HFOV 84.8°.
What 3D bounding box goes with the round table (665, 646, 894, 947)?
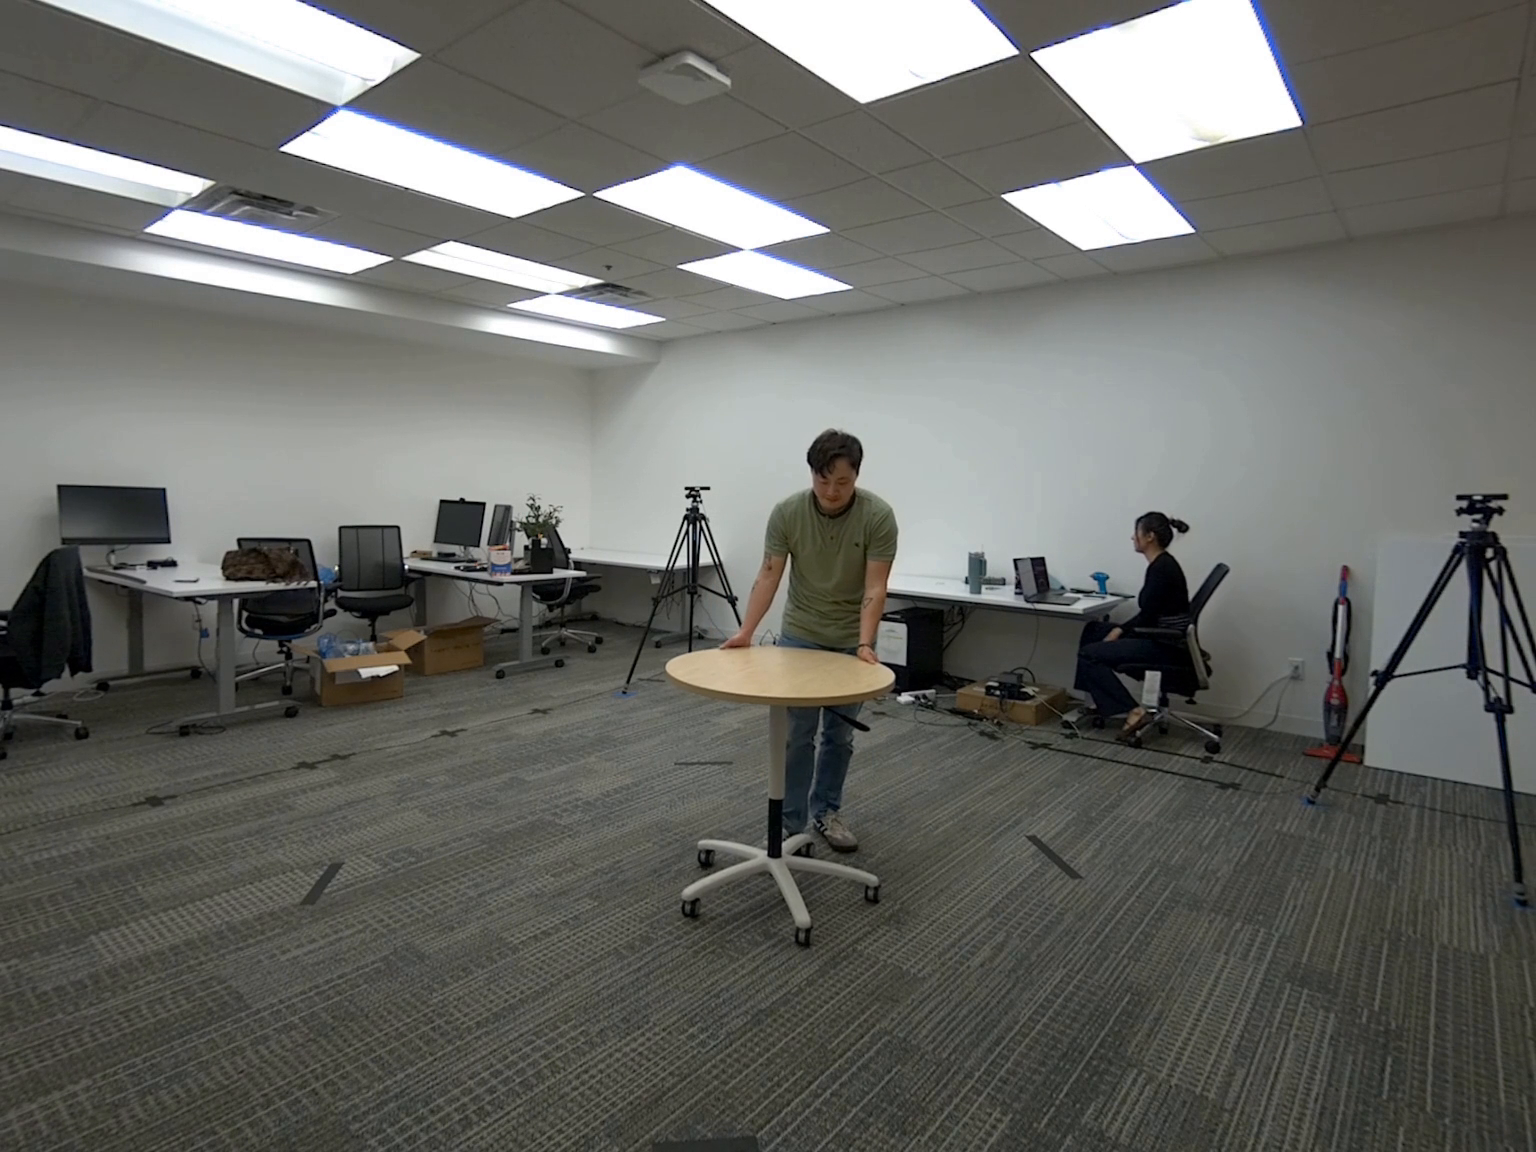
[{"bbox_3d":[0.013,0.701,2.888,0.763,0.791,0.768,1,4,-2],"label":"round table"}]
